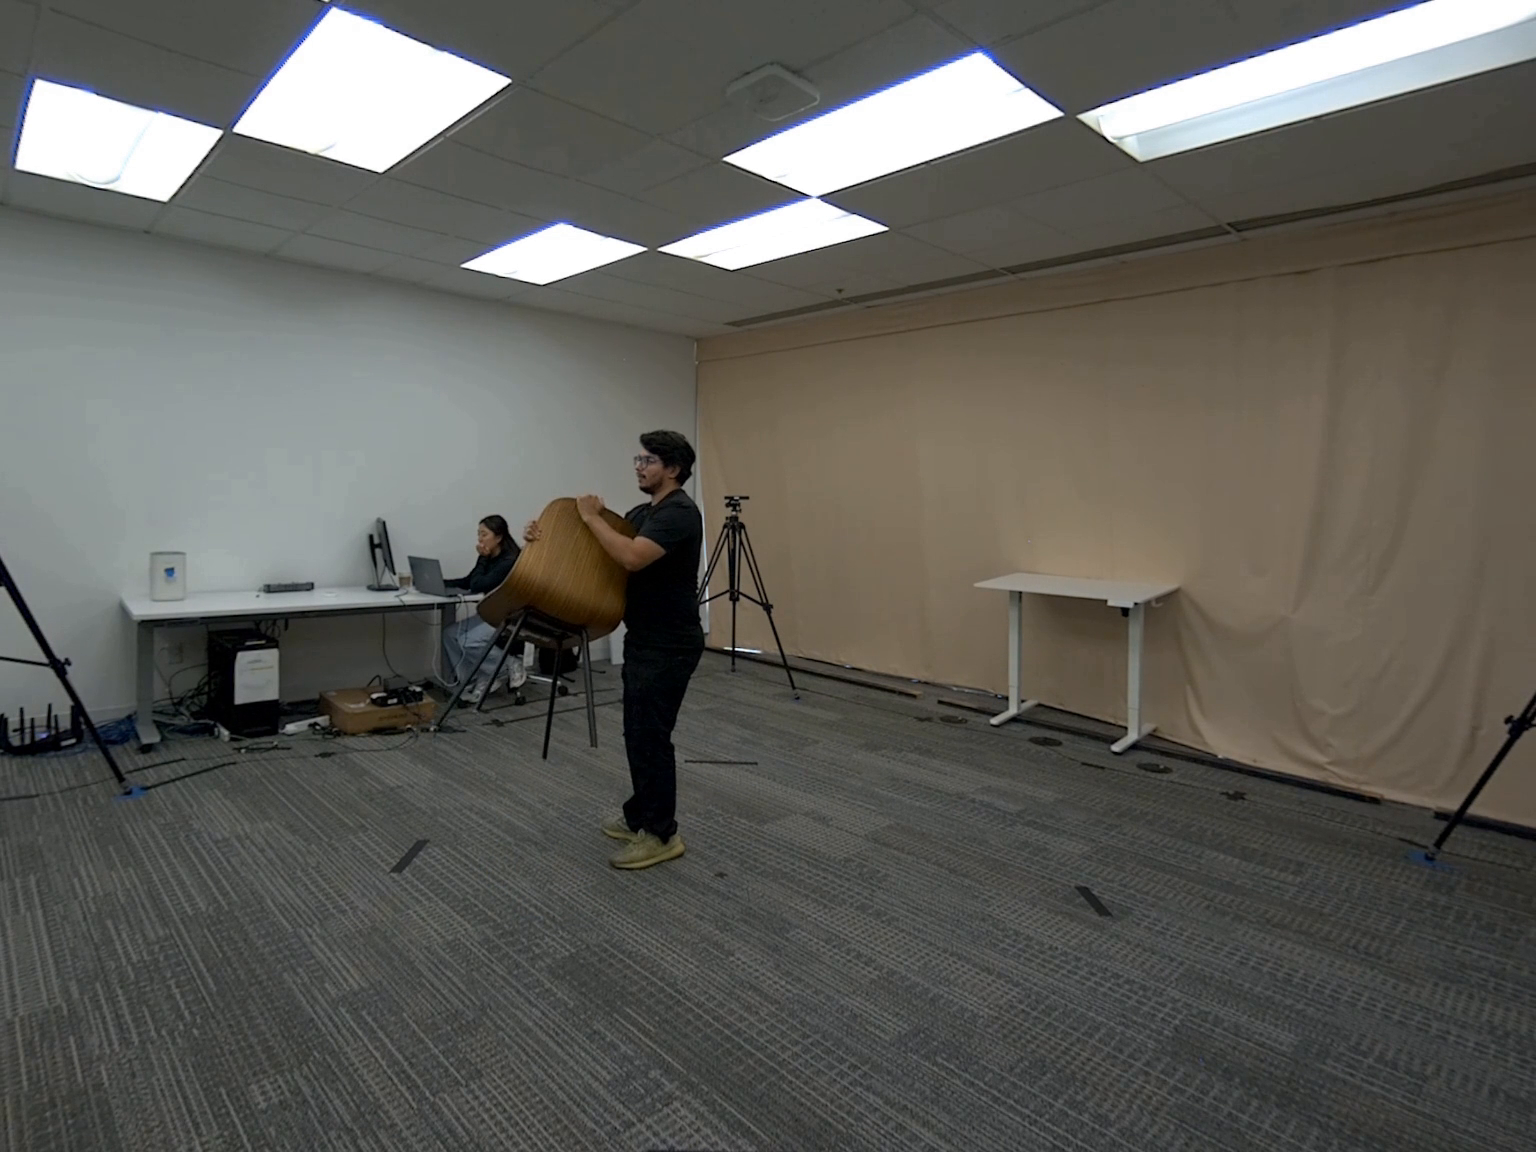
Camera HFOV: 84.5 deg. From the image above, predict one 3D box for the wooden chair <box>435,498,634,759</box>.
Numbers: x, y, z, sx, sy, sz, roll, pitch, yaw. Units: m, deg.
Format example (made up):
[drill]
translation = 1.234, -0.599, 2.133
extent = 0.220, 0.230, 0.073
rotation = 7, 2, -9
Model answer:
[wooden chair]
translation = -0.845, 0.195, 3.155
extent = 0.466, 0.887, 0.530
rotation = 25, -26, -29
